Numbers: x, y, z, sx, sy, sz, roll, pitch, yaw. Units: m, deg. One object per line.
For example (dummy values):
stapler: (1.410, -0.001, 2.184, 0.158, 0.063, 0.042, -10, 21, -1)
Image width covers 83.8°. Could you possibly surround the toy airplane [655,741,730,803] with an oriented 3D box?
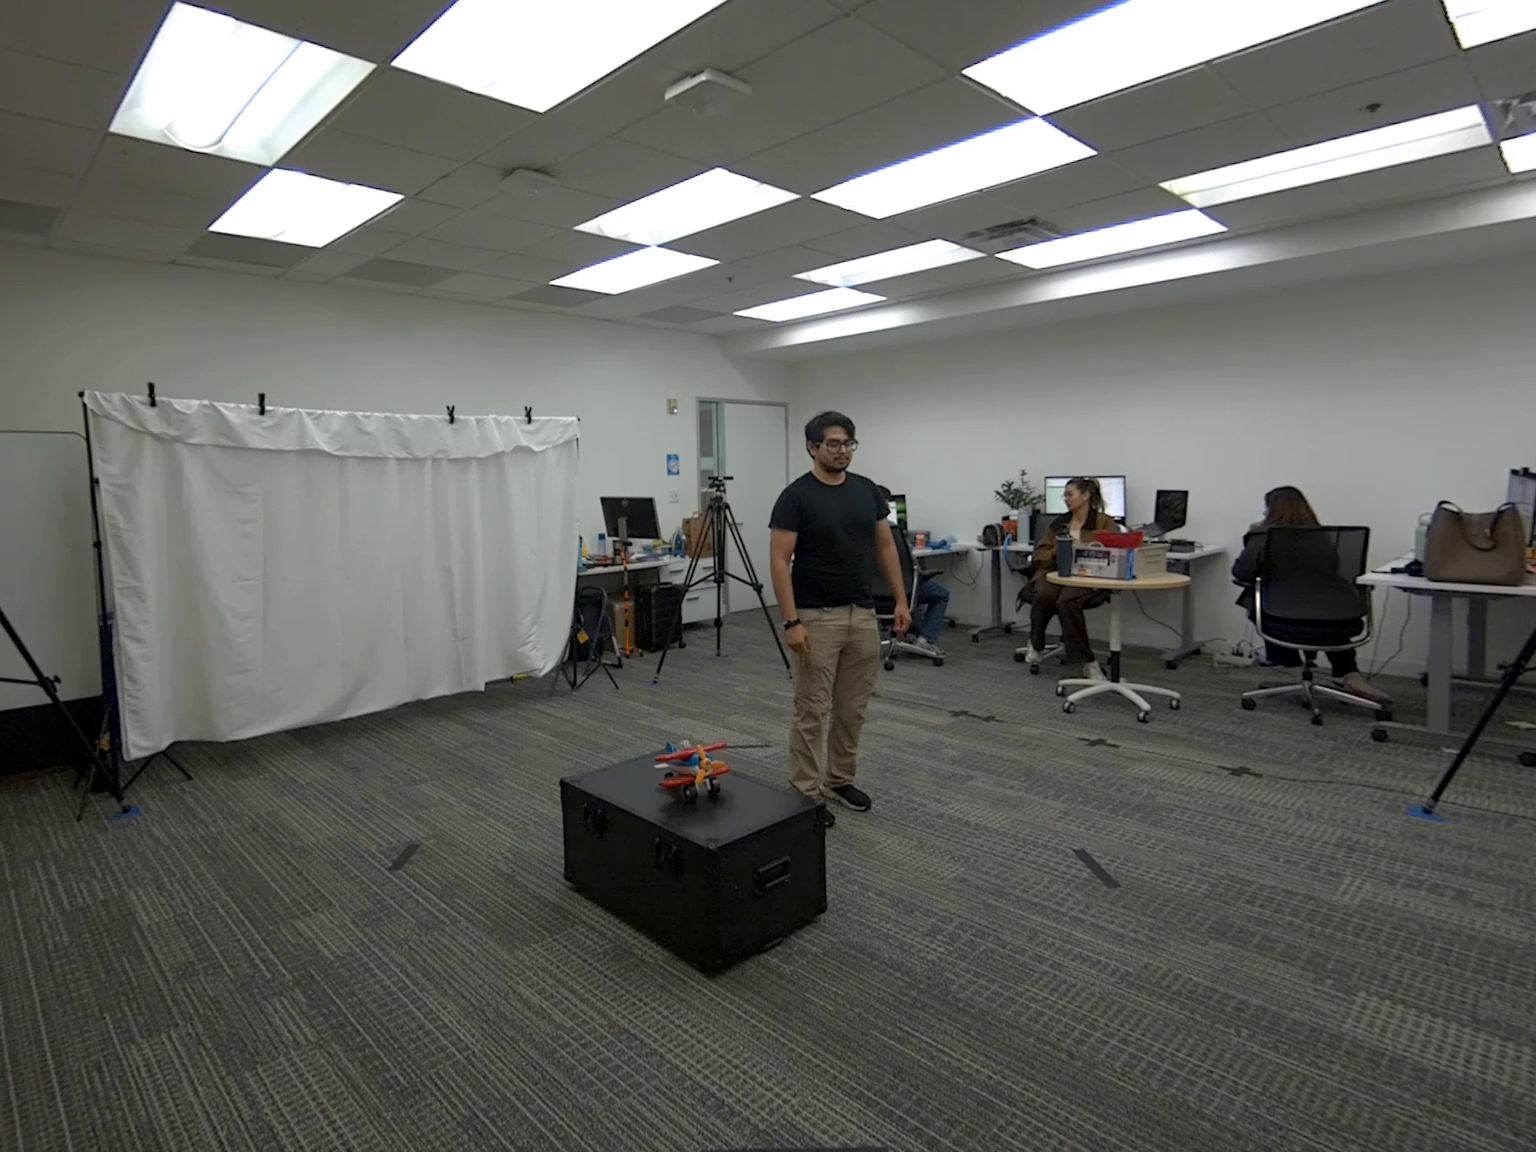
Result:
toy airplane: (-0.272, 0.626, 2.793, 0.266, 0.155, 0.246, 4, 8, 26)
